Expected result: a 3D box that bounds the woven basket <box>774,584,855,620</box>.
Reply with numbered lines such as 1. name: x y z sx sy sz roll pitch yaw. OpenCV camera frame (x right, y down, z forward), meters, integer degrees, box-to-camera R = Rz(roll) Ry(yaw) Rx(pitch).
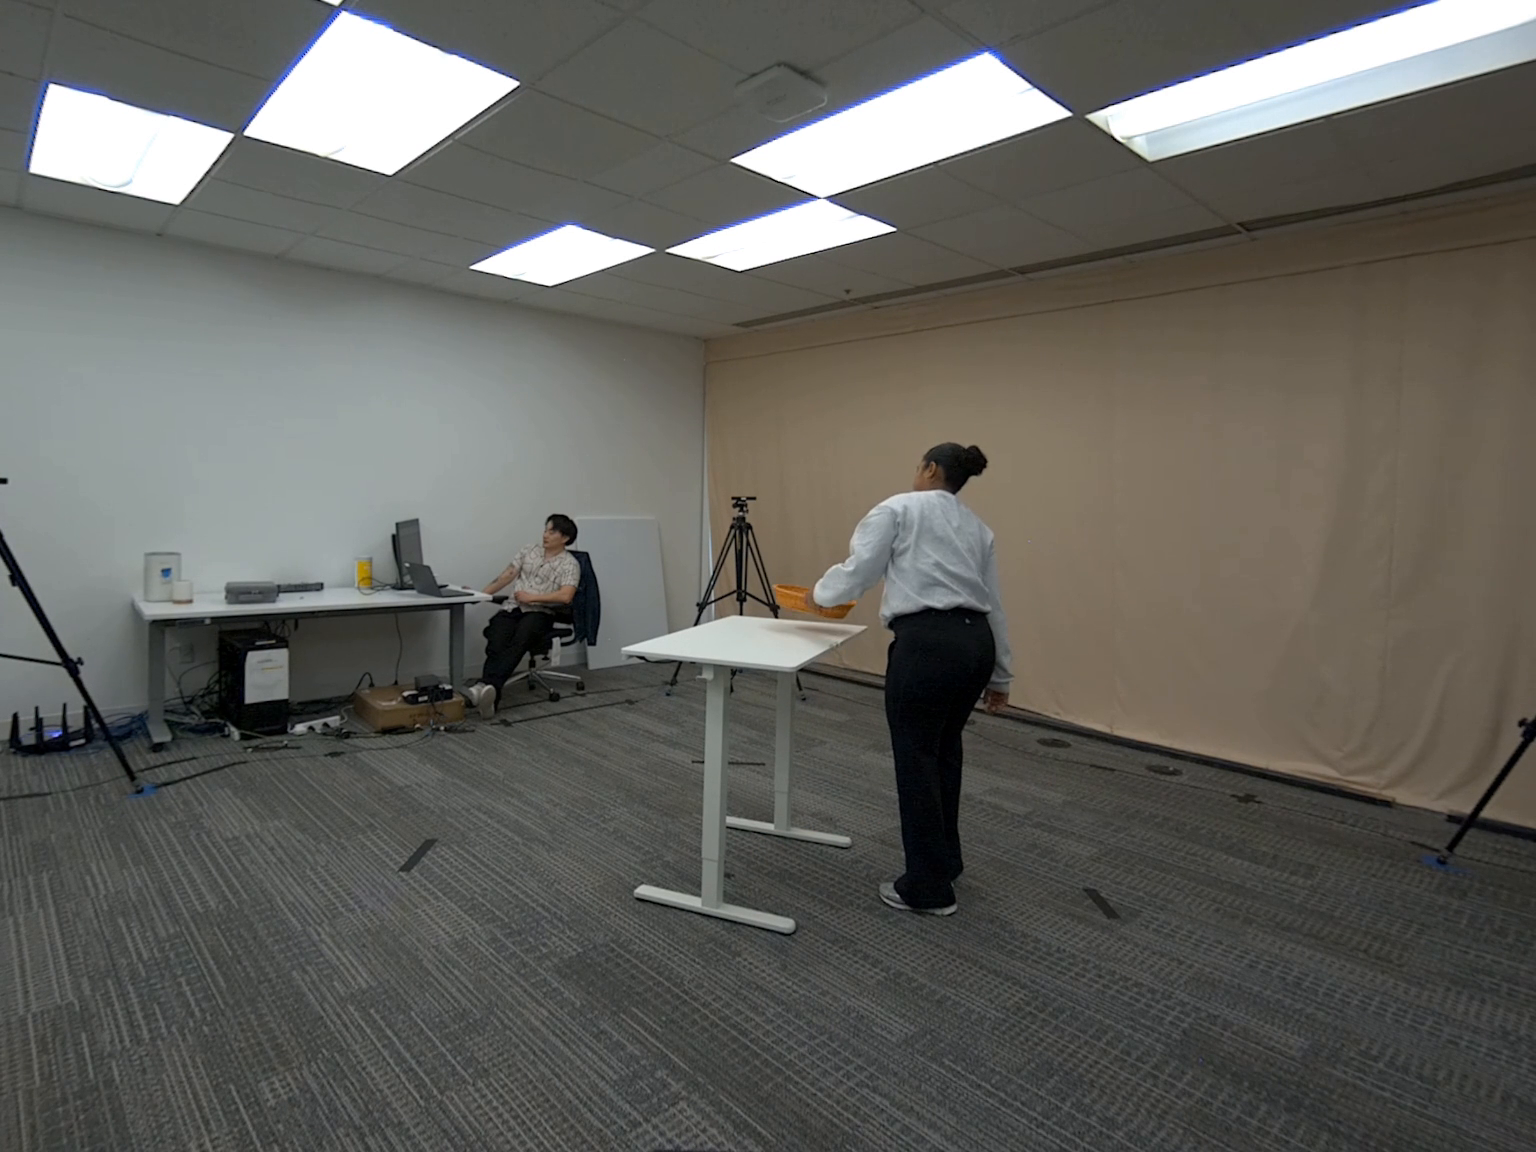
1. woven basket: 0.191 0.106 3.316 0.358 0.073 0.248 12 8 26
